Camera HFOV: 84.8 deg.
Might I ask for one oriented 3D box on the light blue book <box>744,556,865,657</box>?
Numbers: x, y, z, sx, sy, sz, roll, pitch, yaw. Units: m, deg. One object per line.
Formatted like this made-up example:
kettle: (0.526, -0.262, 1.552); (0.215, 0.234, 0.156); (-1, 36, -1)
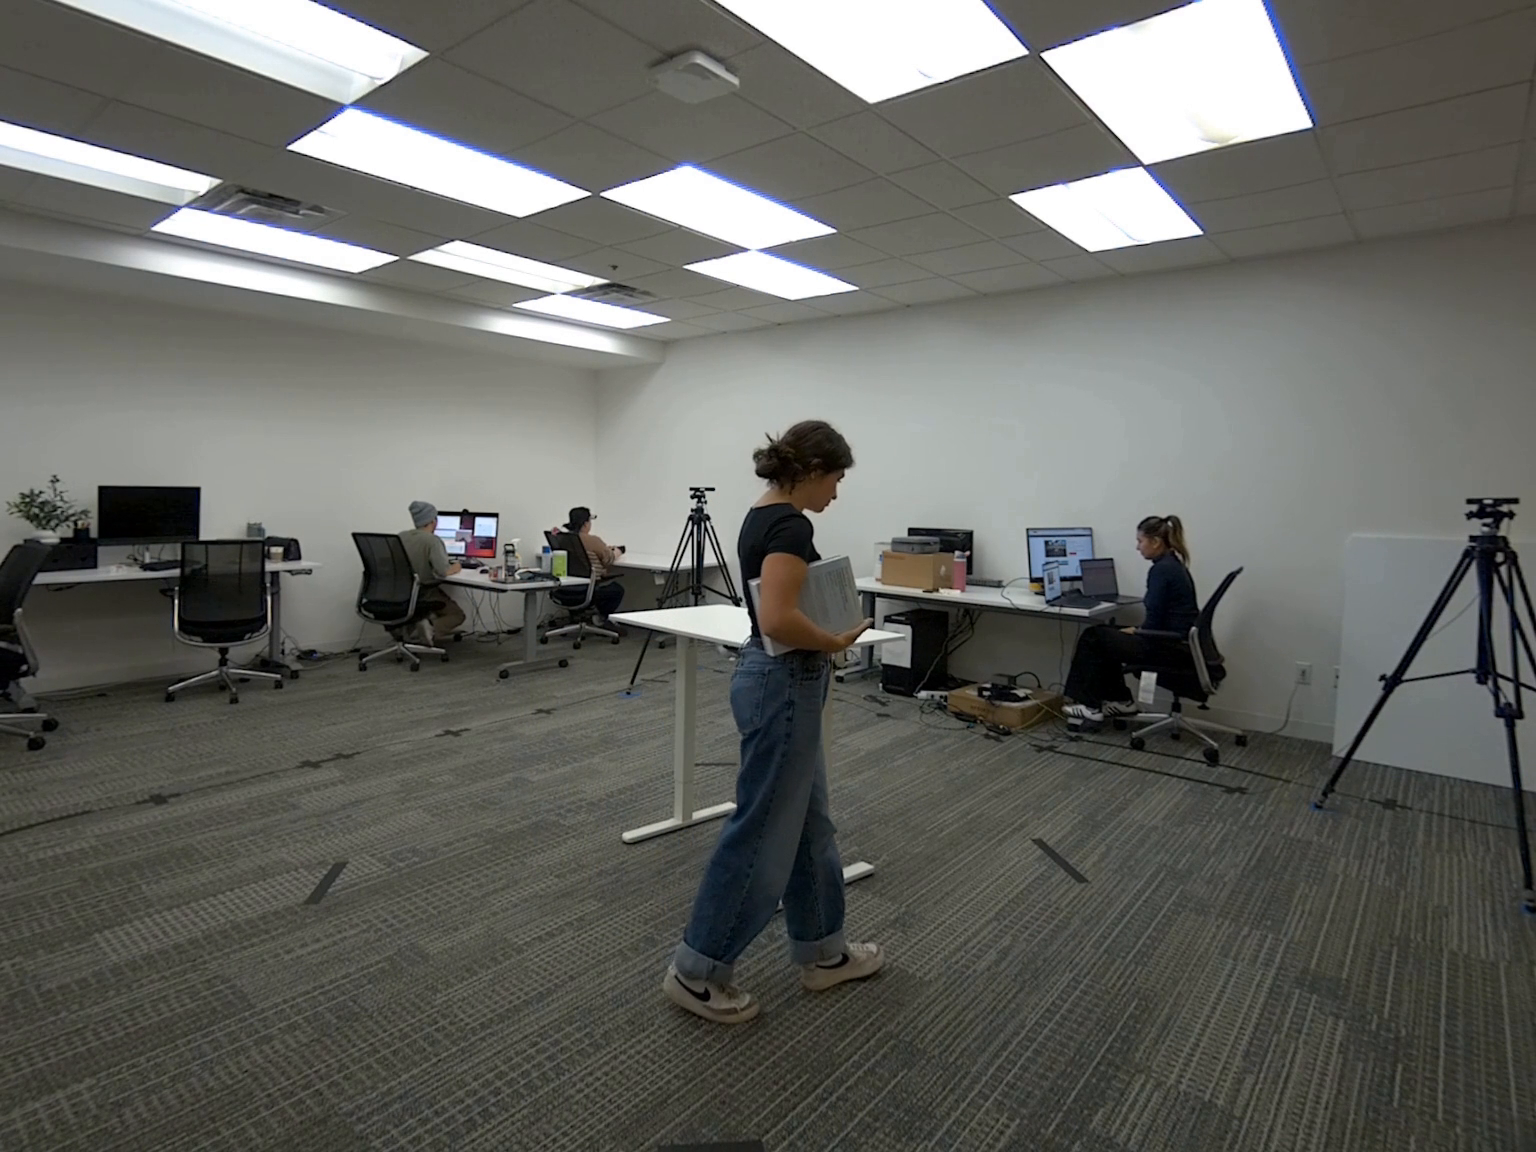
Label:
light blue book: (0.094, 0.066, 2.138); (0.257, 0.190, 0.060); (-12, 4, -18)
